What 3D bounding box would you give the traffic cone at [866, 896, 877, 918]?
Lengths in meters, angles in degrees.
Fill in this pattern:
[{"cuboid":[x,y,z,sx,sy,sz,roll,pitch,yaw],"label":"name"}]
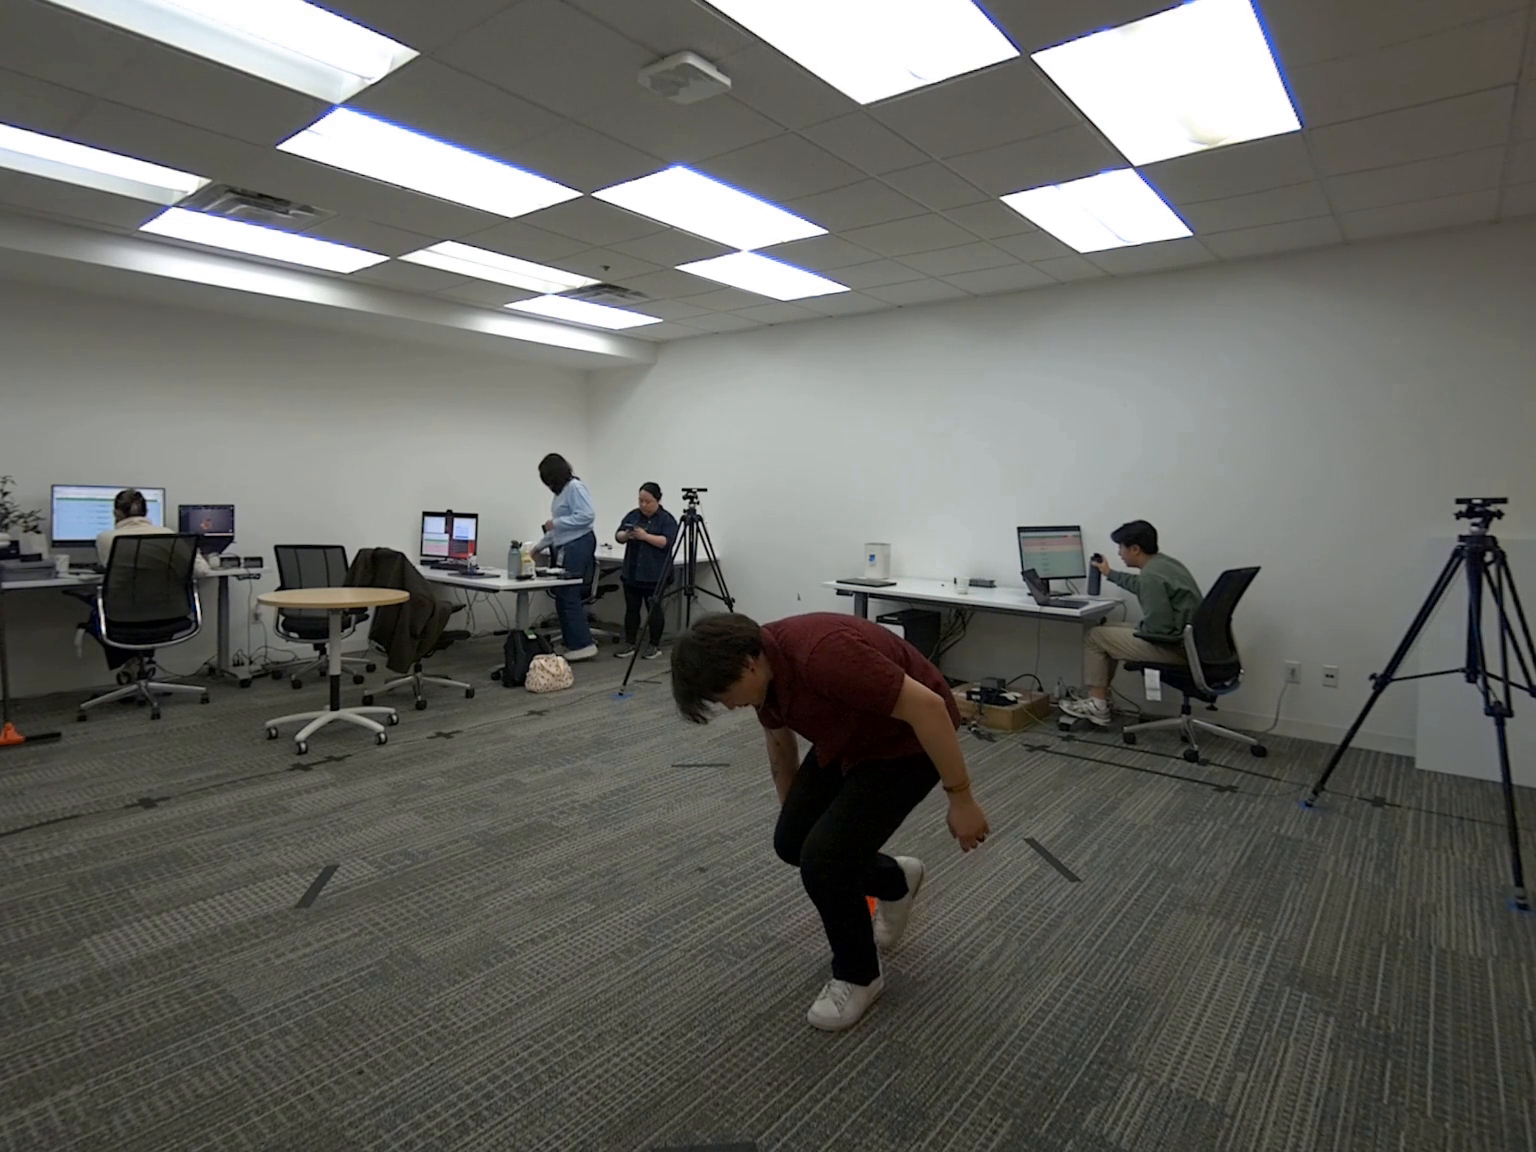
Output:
[{"cuboid":[0.187,0.919,2.698,0.212,0.204,0.368,11,-27,43],"label":"traffic cone"}]
